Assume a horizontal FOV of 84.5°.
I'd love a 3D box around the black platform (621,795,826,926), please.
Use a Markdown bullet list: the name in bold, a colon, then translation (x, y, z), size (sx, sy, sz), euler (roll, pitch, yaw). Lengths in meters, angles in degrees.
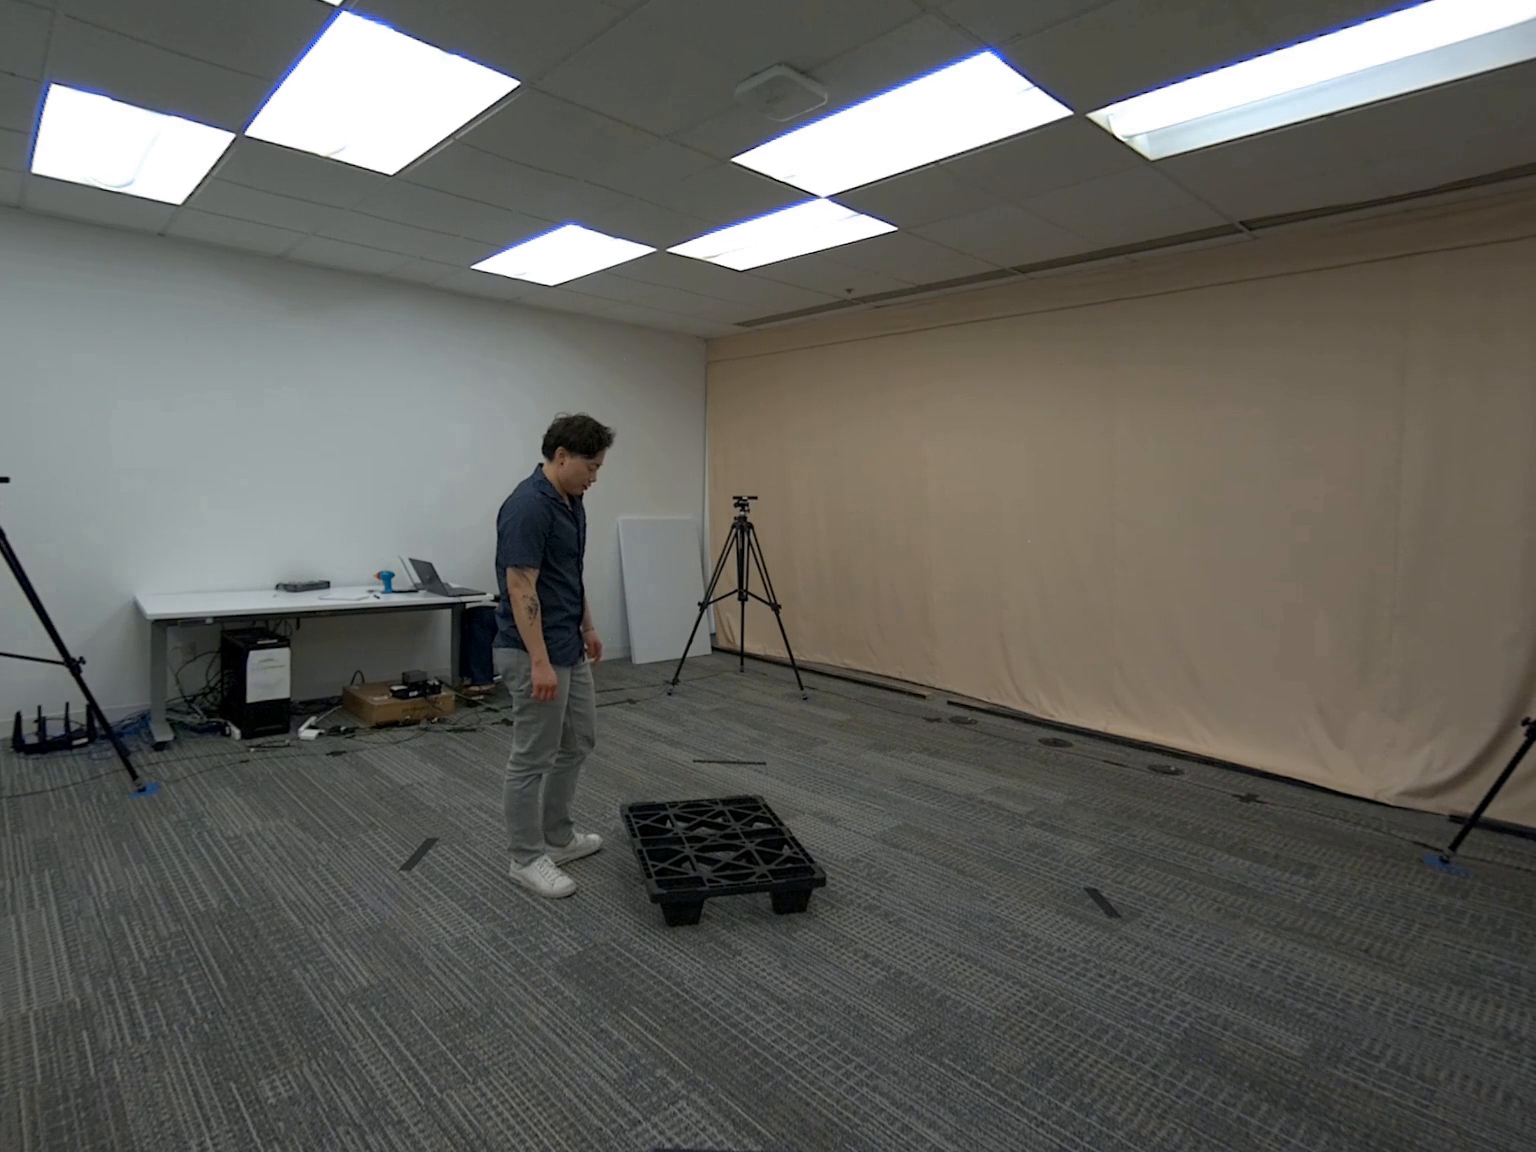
- **black platform**: translation (-0.206, 1.030, 3.125), size (0.598, 0.143, 0.818), euler (0, 6, -16)
